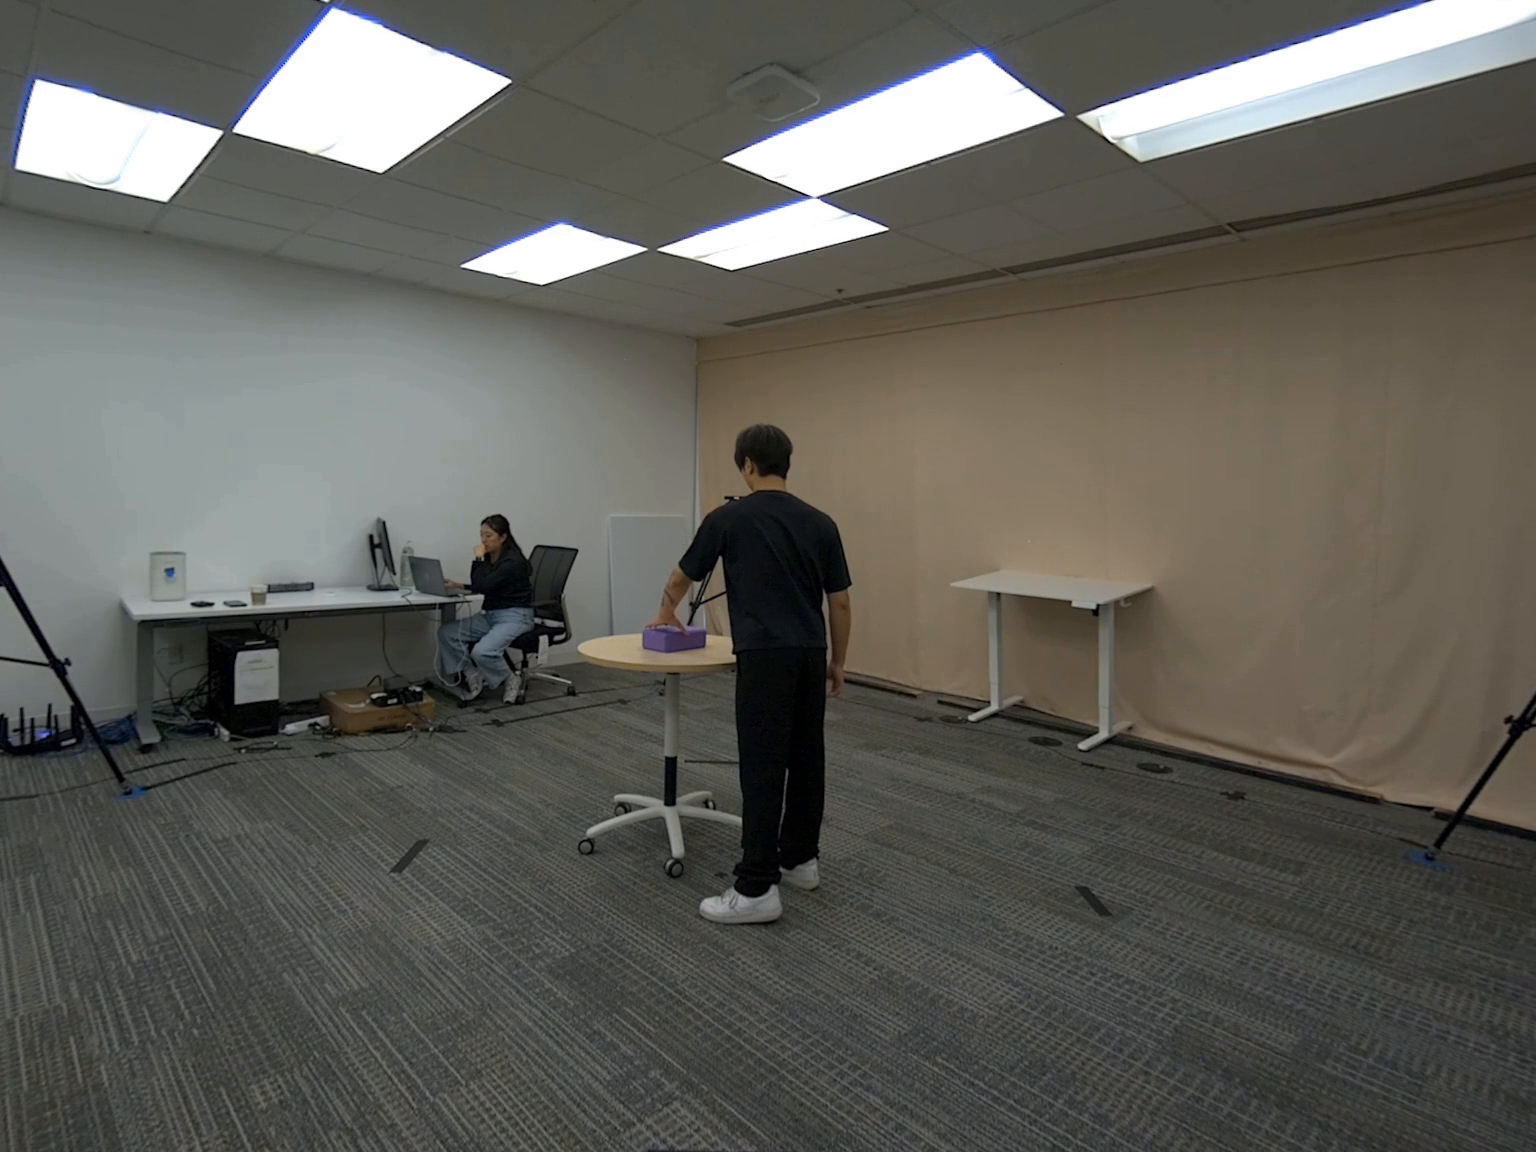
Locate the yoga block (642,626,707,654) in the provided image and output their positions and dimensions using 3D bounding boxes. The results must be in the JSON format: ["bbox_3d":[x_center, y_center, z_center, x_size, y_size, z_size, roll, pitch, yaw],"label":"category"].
[{"bbox_3d":[-0.381,0.251,3.380,0.153,0.076,0.224,4,5,41],"label":"yoga block"}]
